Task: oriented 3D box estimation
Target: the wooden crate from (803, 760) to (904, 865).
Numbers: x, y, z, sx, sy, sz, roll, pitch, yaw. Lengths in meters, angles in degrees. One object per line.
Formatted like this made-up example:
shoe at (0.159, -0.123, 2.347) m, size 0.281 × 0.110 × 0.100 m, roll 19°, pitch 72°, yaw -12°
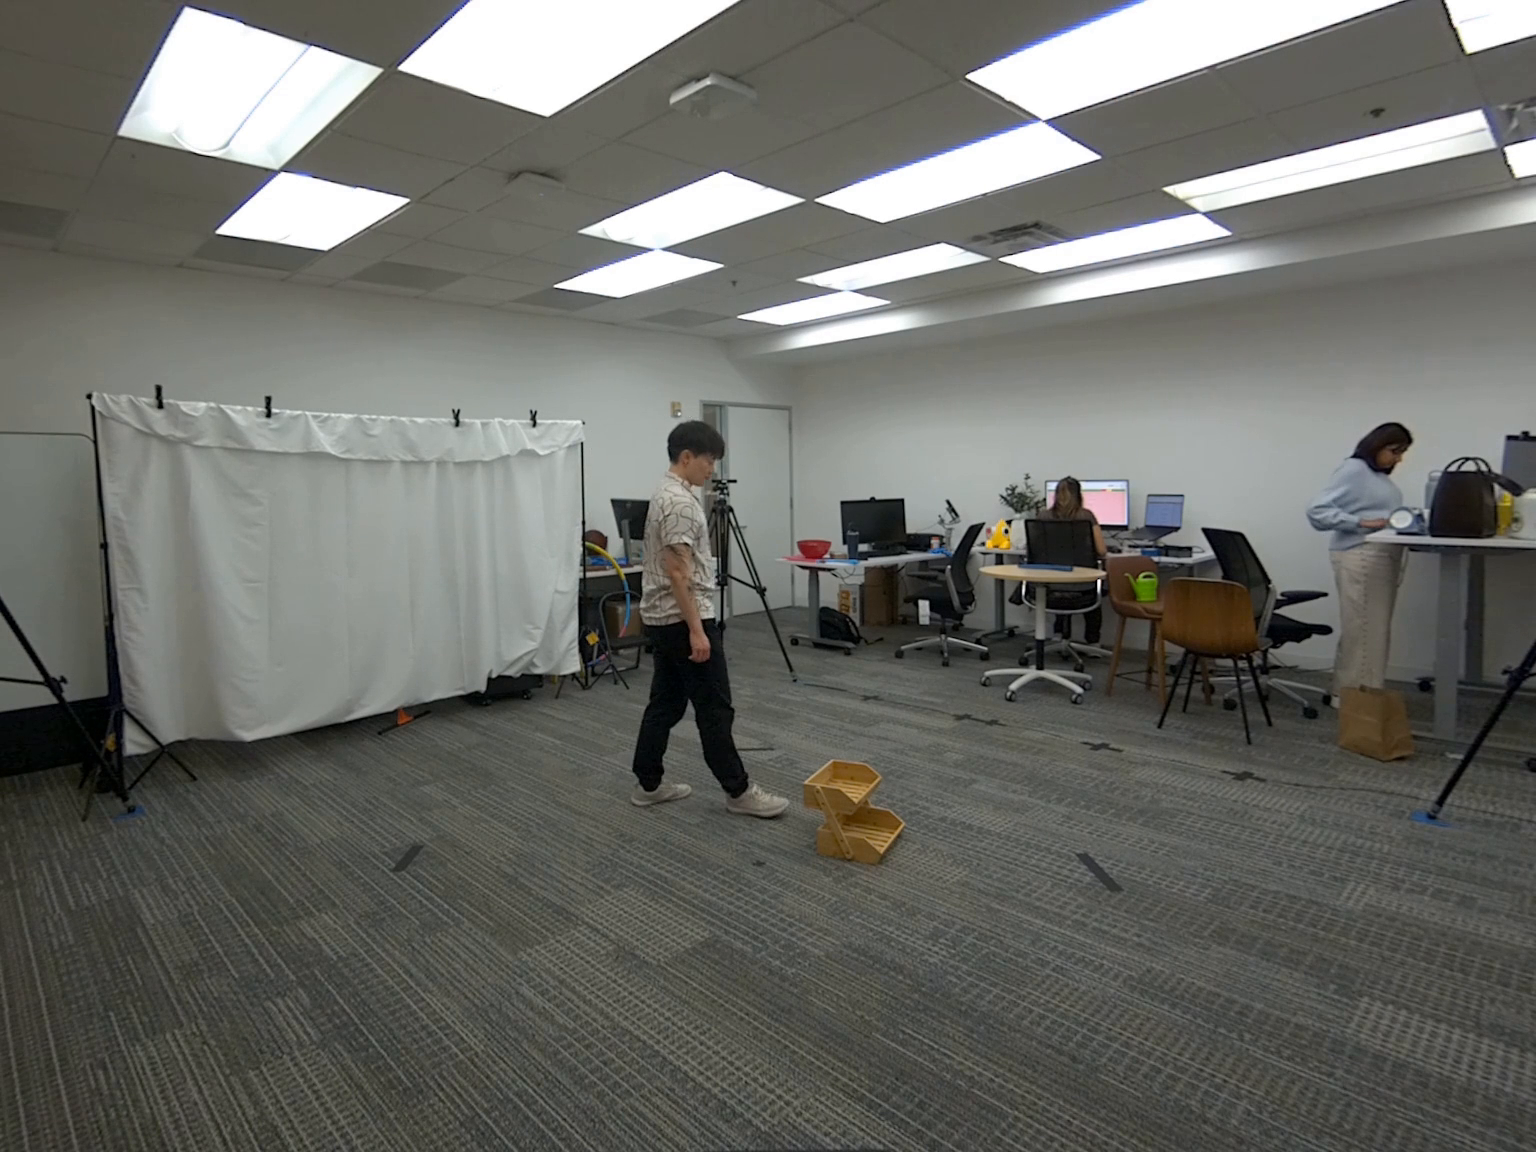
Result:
wooden crate at (0.338, 0.890, 3.267) m, size 0.309 × 0.272 × 0.318 m, roll 1°, pitch 6°, yaw 27°
